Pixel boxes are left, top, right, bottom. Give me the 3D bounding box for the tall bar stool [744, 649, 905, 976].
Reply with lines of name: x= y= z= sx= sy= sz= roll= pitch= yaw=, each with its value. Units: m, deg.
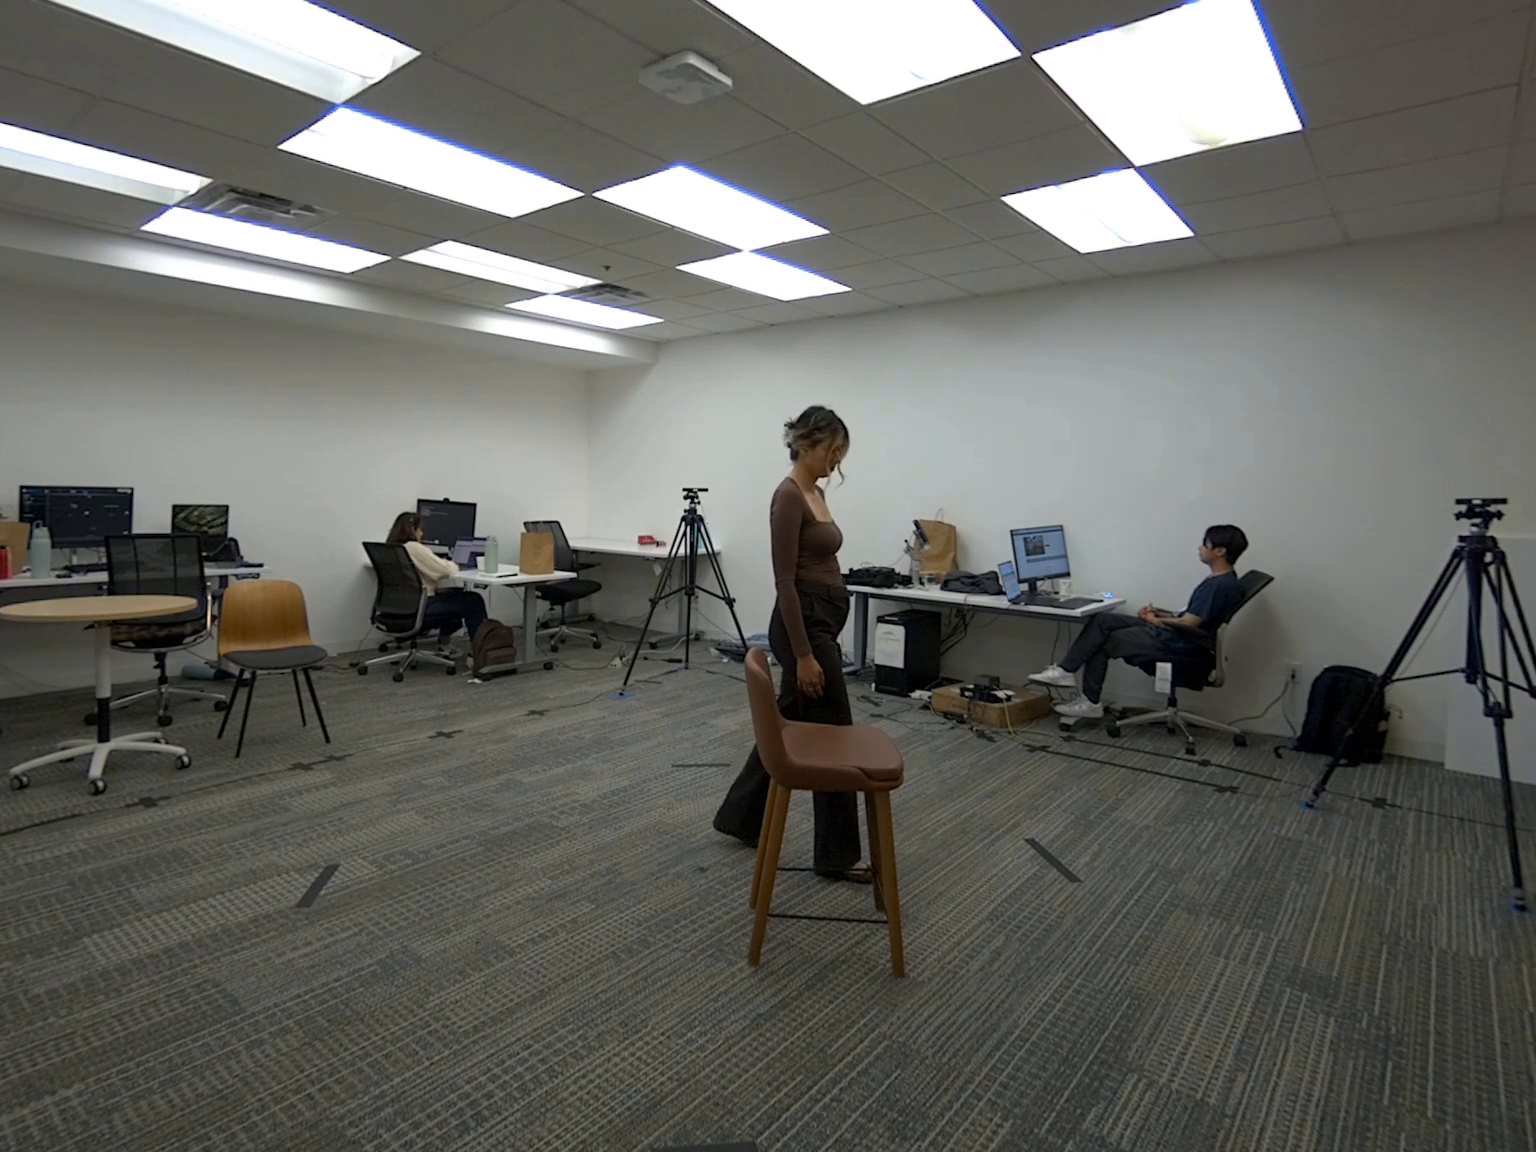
tall bar stool: x=0.166 y=0.691 z=2.630 sx=0.469 sy=0.888 sz=0.456 roll=0 pitch=3 yaw=2
